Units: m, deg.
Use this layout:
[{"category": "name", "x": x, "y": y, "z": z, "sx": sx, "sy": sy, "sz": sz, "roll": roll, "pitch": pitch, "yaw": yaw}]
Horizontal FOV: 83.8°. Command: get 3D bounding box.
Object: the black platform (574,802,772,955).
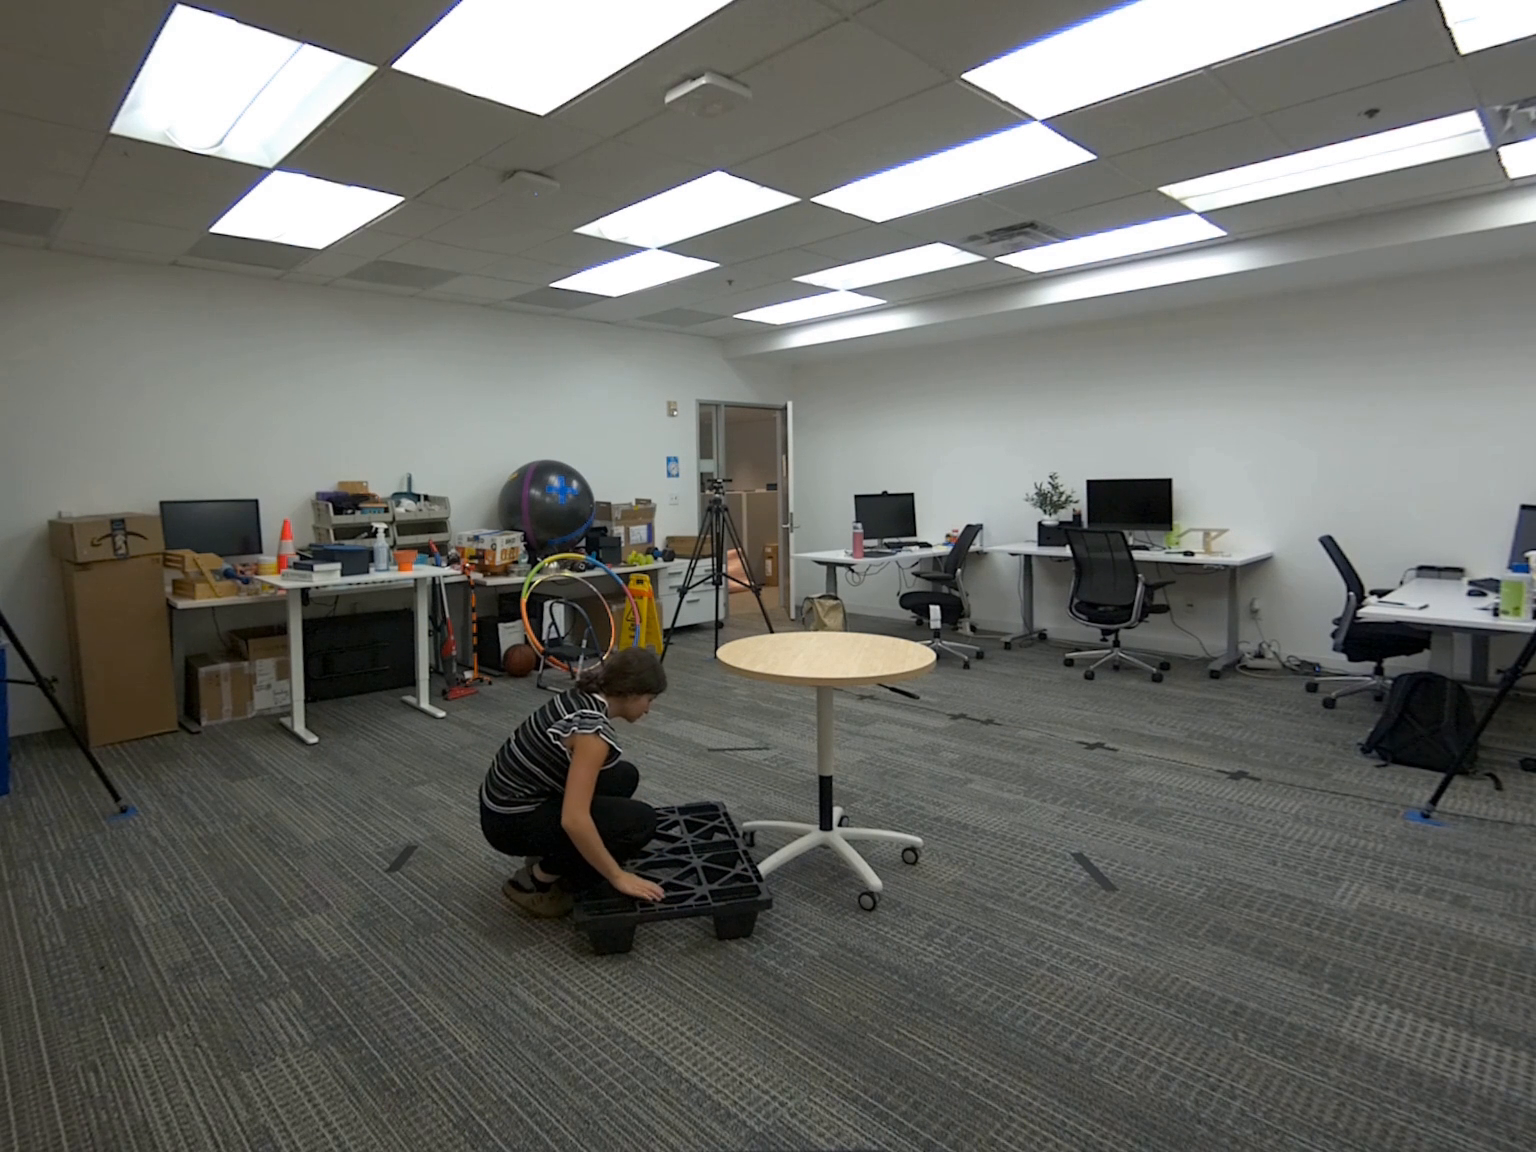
[{"category": "black platform", "x": -0.363, "y": 0.998, "z": 2.920, "sx": 0.598, "sy": 0.142, "sz": 0.819, "roll": -1, "pitch": 7, "yaw": -13}]
